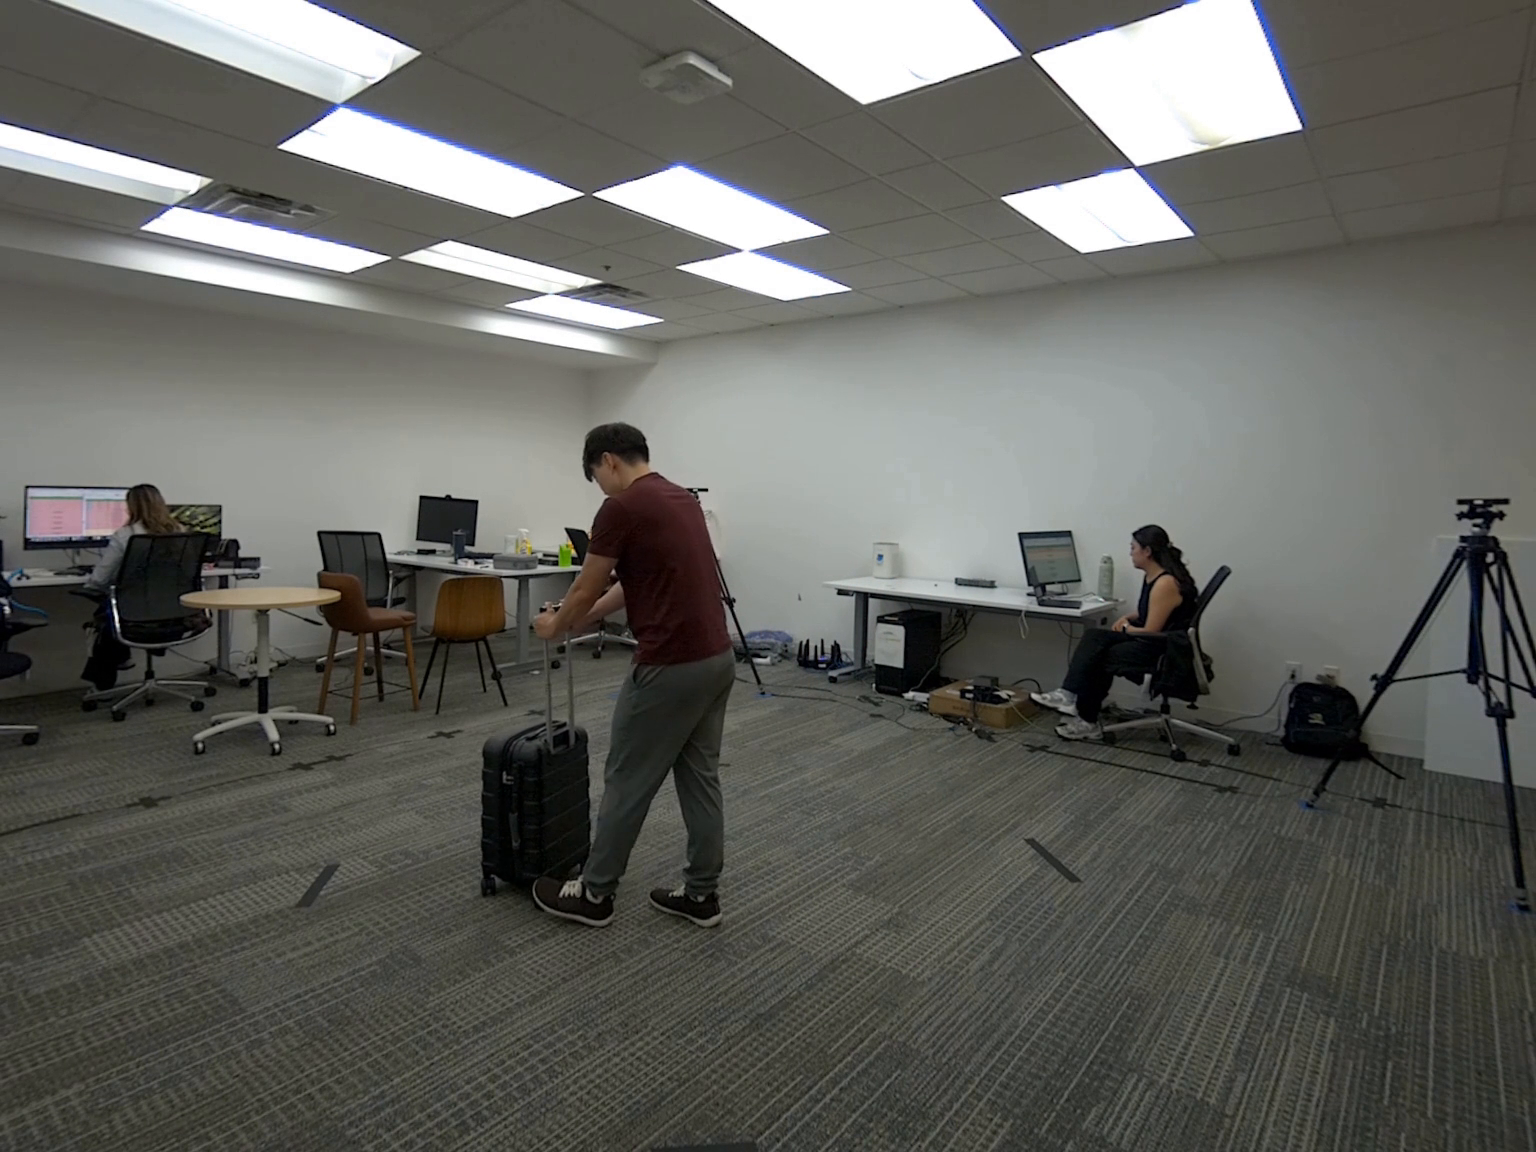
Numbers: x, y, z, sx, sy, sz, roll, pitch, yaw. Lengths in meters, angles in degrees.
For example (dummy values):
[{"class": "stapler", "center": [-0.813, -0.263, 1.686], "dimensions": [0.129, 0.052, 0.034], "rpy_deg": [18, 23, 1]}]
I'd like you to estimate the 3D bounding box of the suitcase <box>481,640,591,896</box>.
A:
[{"class": "suitcase", "center": [-0.834, 0.596, 2.987], "dimensions": [0.262, 0.978, 0.376], "rpy_deg": [-2, 1, 21]}]
